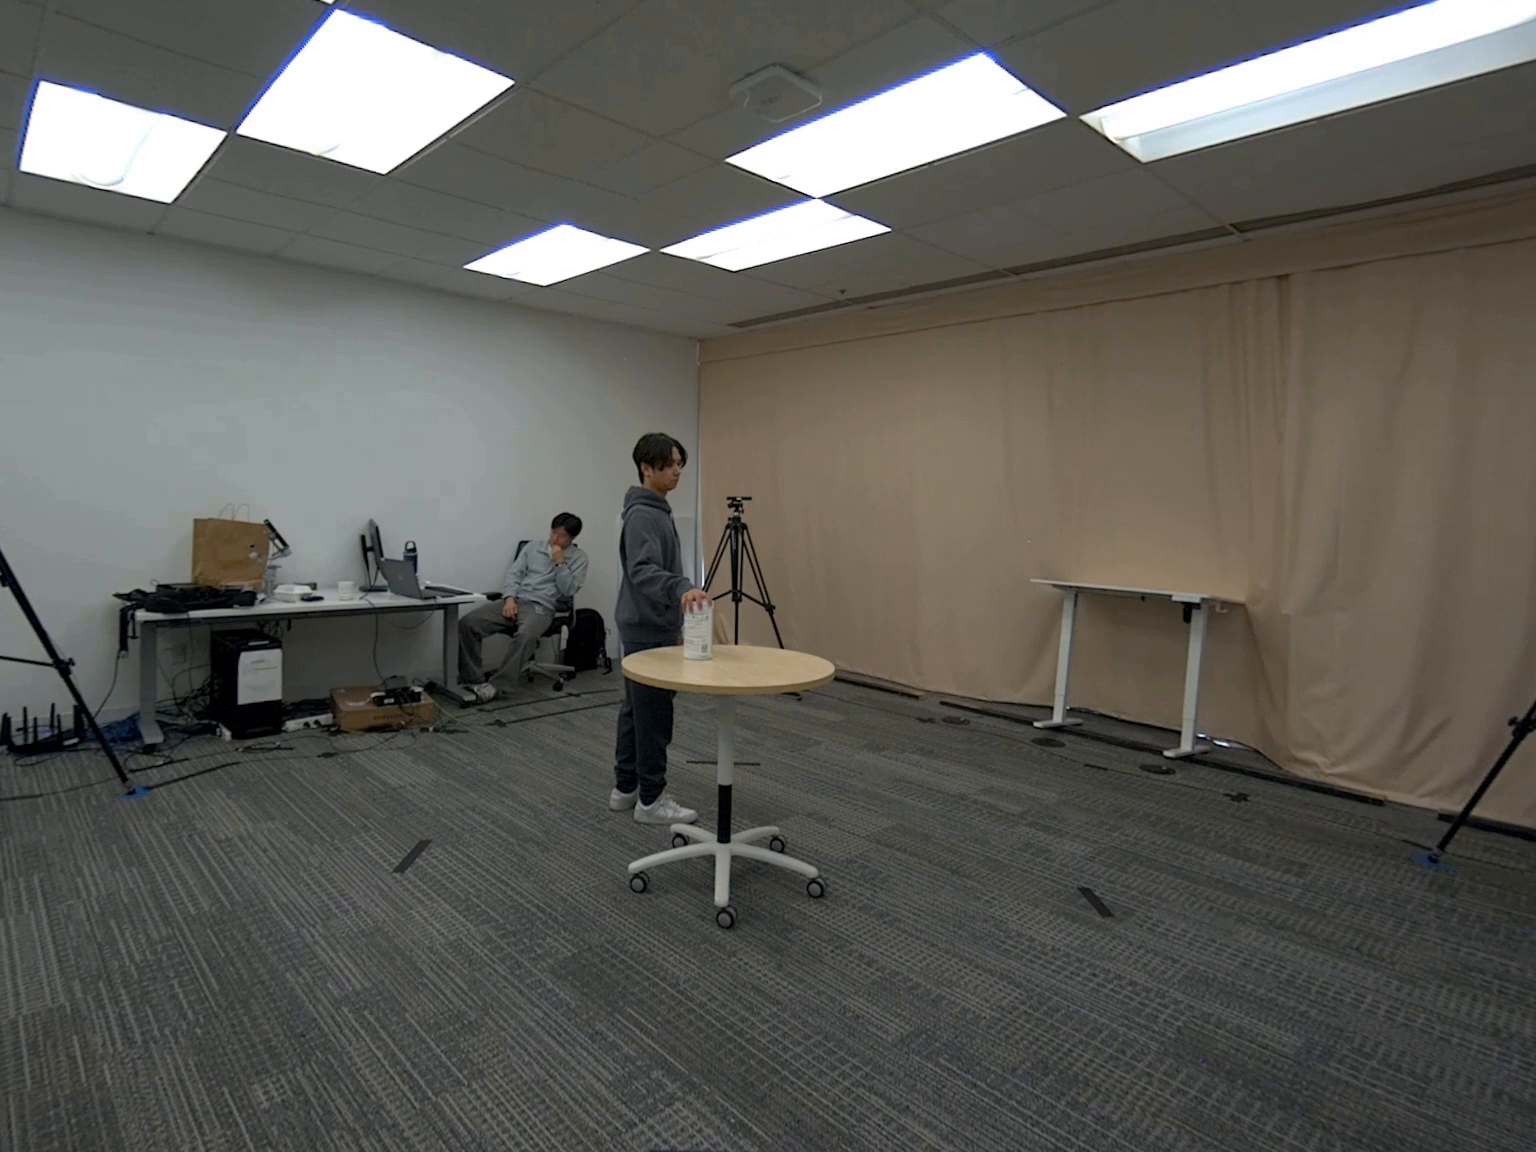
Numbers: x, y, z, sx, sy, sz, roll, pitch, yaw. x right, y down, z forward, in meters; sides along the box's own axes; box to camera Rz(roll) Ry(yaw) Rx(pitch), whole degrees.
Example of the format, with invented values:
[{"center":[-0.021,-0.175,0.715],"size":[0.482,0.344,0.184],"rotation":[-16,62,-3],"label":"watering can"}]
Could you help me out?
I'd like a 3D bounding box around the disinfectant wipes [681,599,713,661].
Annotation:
[{"center":[-0.261,0.201,3.114],"size":[0.118,0.217,0.118],"rotation":[0,1,-1],"label":"disinfectant wipes"}]
